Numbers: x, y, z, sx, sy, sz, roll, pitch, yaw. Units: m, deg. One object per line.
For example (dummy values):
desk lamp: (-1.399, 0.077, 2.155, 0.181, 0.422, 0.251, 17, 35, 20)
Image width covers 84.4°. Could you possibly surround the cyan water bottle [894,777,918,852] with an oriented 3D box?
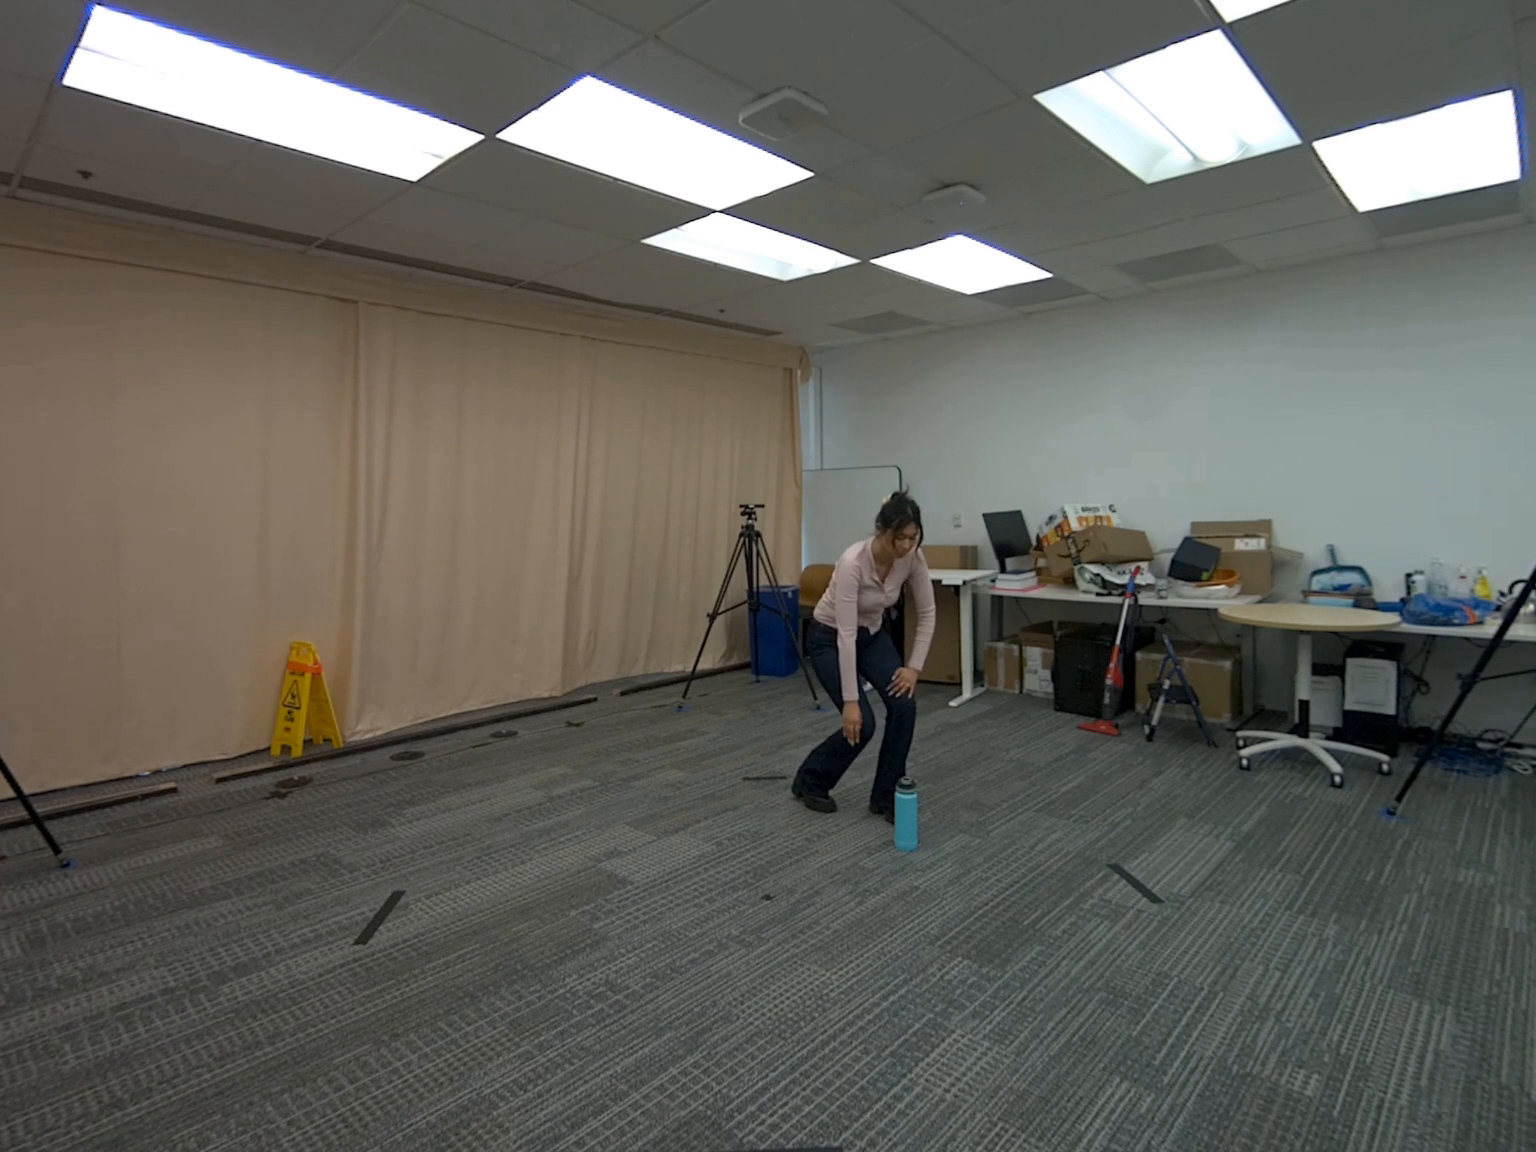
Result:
cyan water bottle: (0.557, 0.949, 3.399, 0.092, 0.283, 0.092, 0, 2, -2)
